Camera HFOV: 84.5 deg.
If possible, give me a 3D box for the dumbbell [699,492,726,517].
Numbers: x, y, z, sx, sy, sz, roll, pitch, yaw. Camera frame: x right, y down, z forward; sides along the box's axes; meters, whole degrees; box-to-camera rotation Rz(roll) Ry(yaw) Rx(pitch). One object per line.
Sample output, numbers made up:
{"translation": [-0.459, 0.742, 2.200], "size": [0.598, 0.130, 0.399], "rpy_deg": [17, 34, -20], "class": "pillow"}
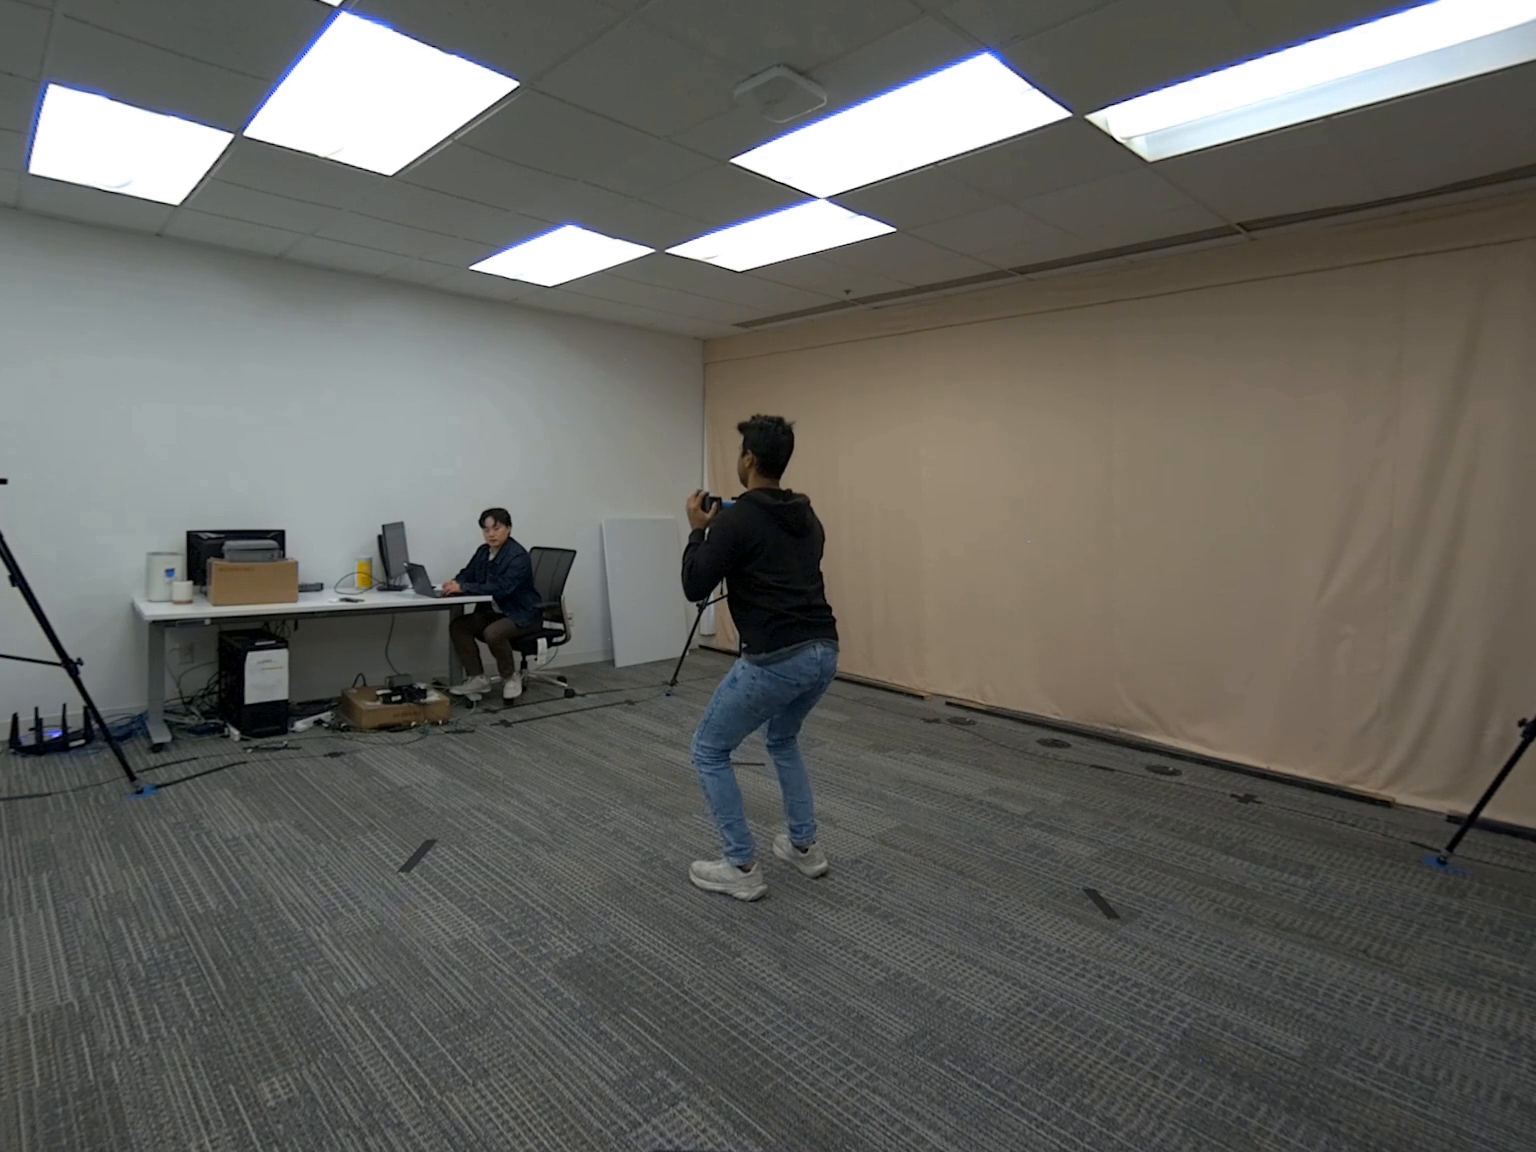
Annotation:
{"translation": [-0.143, -0.248, 3.208], "size": [0.287, 0.123, 0.111], "rpy_deg": [-1, -4, -41], "class": "dumbbell"}
